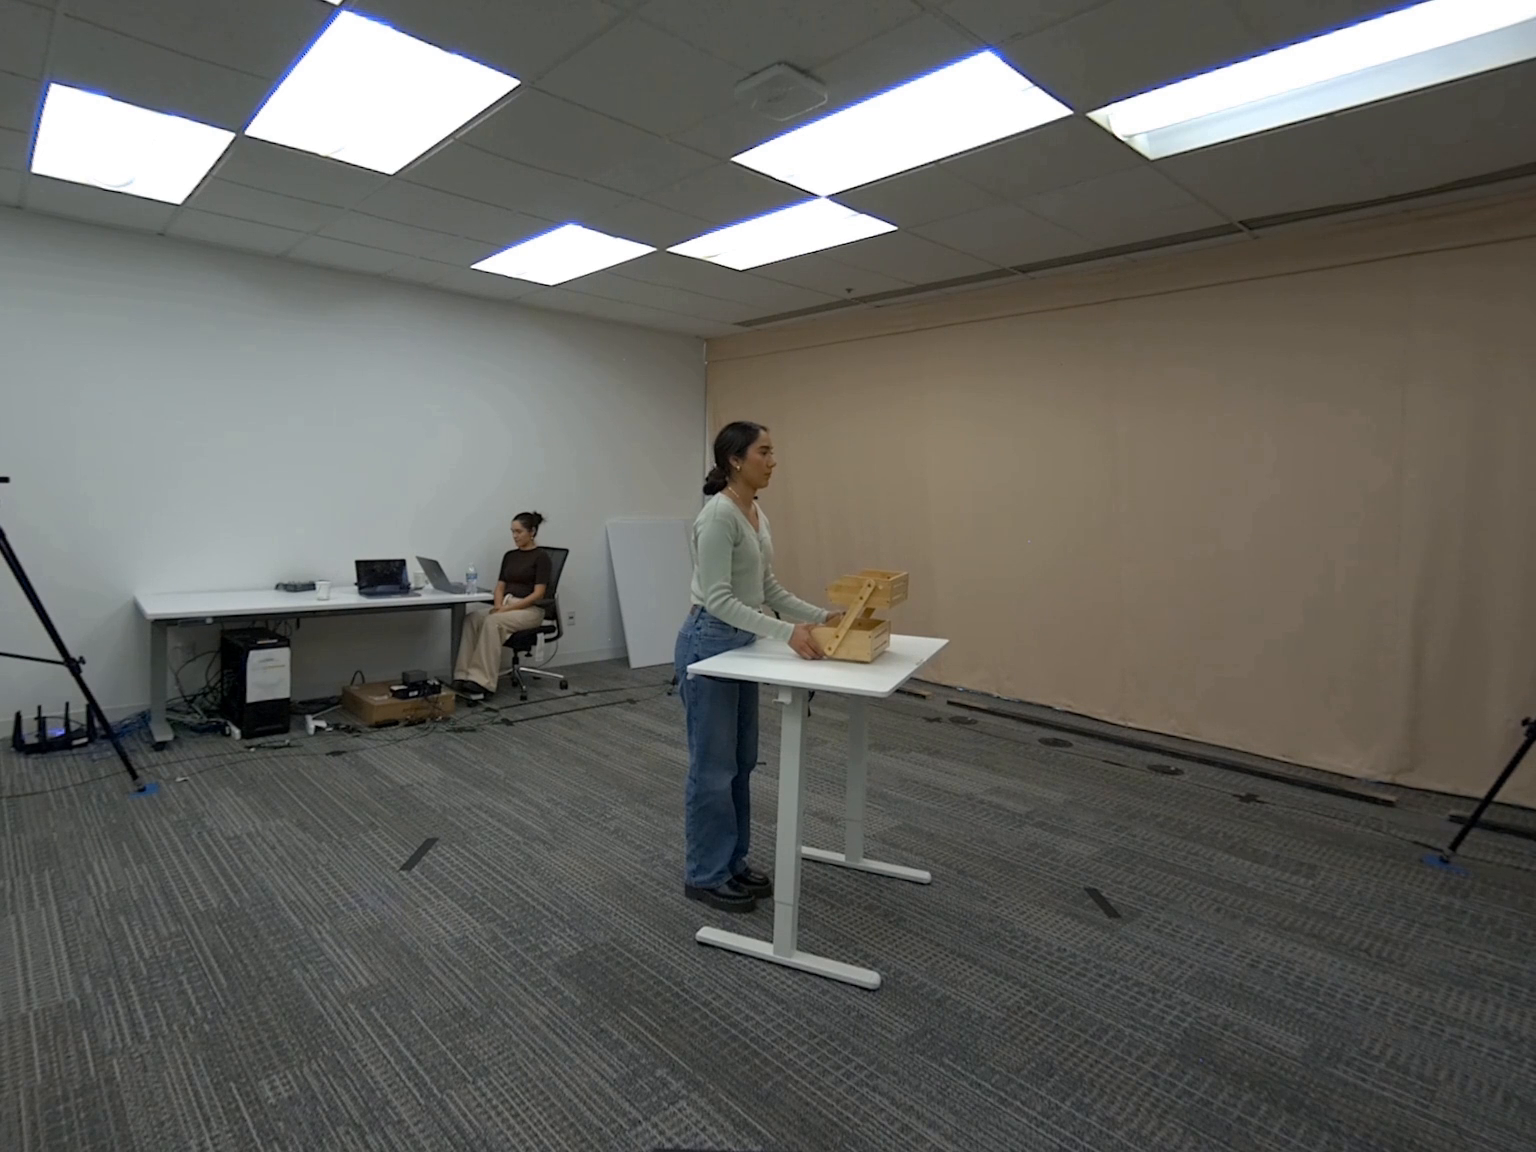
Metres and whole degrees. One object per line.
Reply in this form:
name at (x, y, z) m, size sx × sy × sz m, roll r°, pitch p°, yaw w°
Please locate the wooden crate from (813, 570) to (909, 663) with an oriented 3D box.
wooden crate at (0.268, 0.117, 2.764) m, size 0.307 × 0.272 × 0.320 m, roll 4°, pitch 5°, yaw 19°
